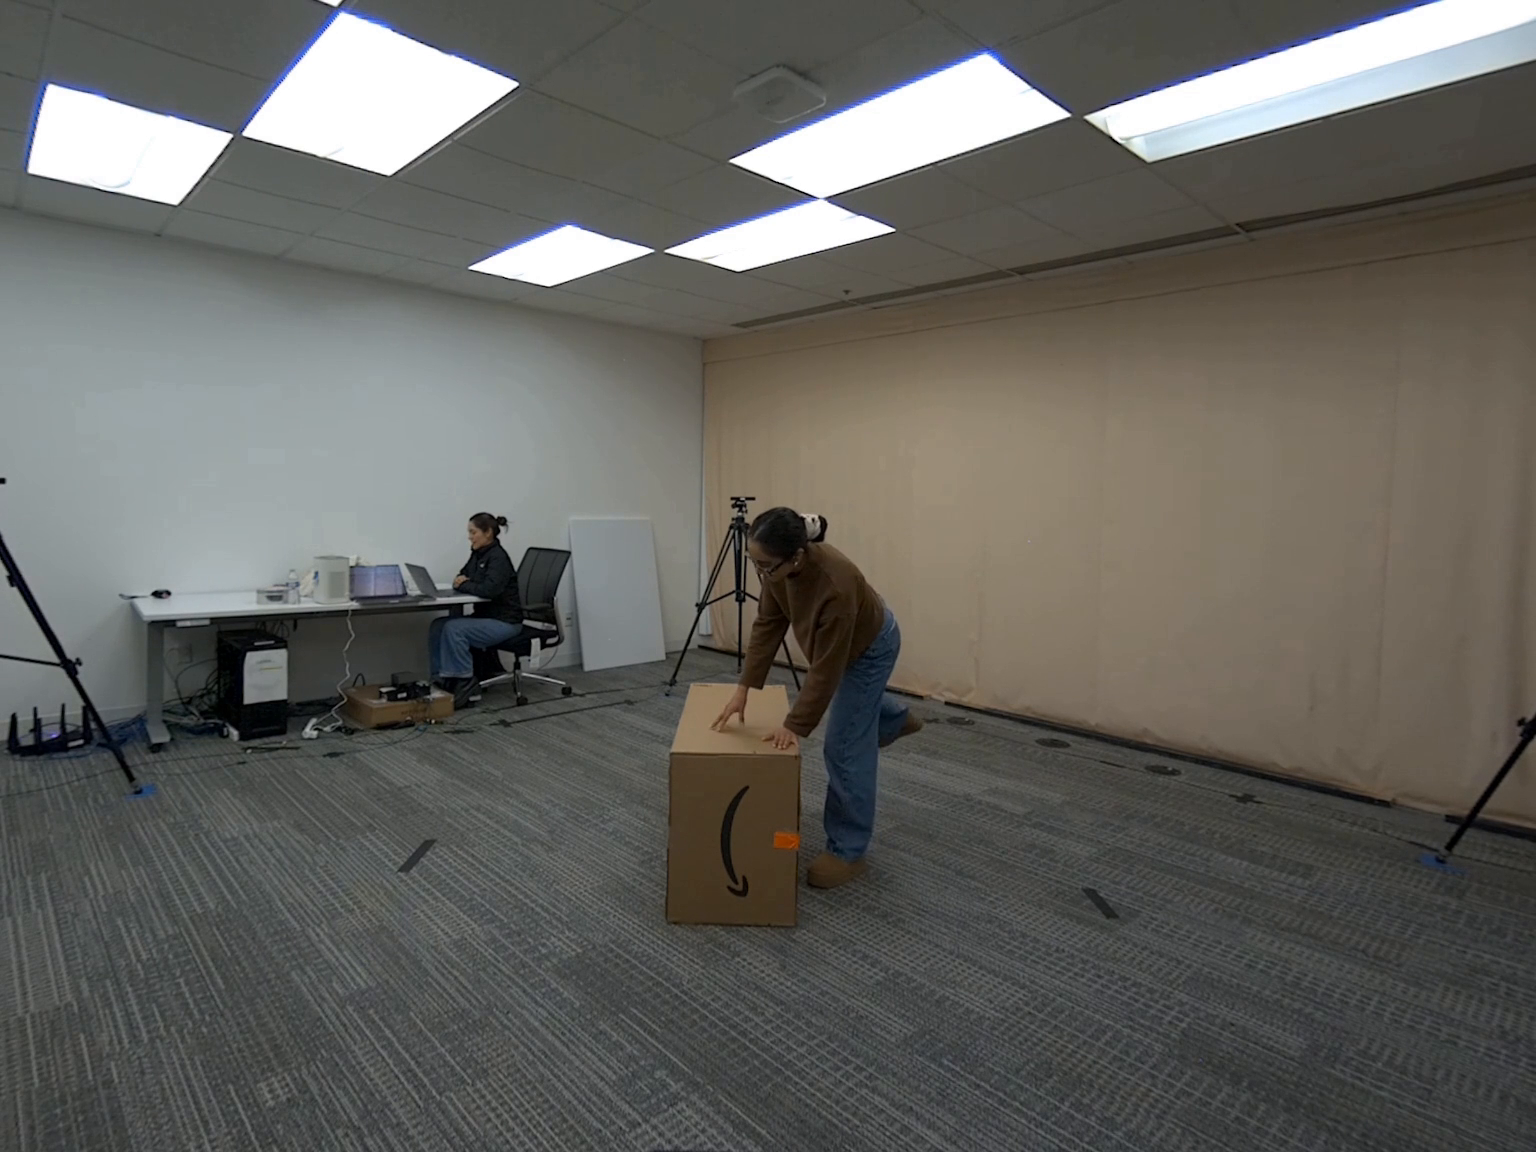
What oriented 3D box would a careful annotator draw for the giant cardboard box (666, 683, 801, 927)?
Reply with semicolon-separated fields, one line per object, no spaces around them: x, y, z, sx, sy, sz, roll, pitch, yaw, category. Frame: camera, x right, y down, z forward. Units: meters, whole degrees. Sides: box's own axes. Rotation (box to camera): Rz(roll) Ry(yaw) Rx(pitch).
-0.130;0.810;3.232;0.447;0.582;1.030;1;5;-1;giant cardboard box
